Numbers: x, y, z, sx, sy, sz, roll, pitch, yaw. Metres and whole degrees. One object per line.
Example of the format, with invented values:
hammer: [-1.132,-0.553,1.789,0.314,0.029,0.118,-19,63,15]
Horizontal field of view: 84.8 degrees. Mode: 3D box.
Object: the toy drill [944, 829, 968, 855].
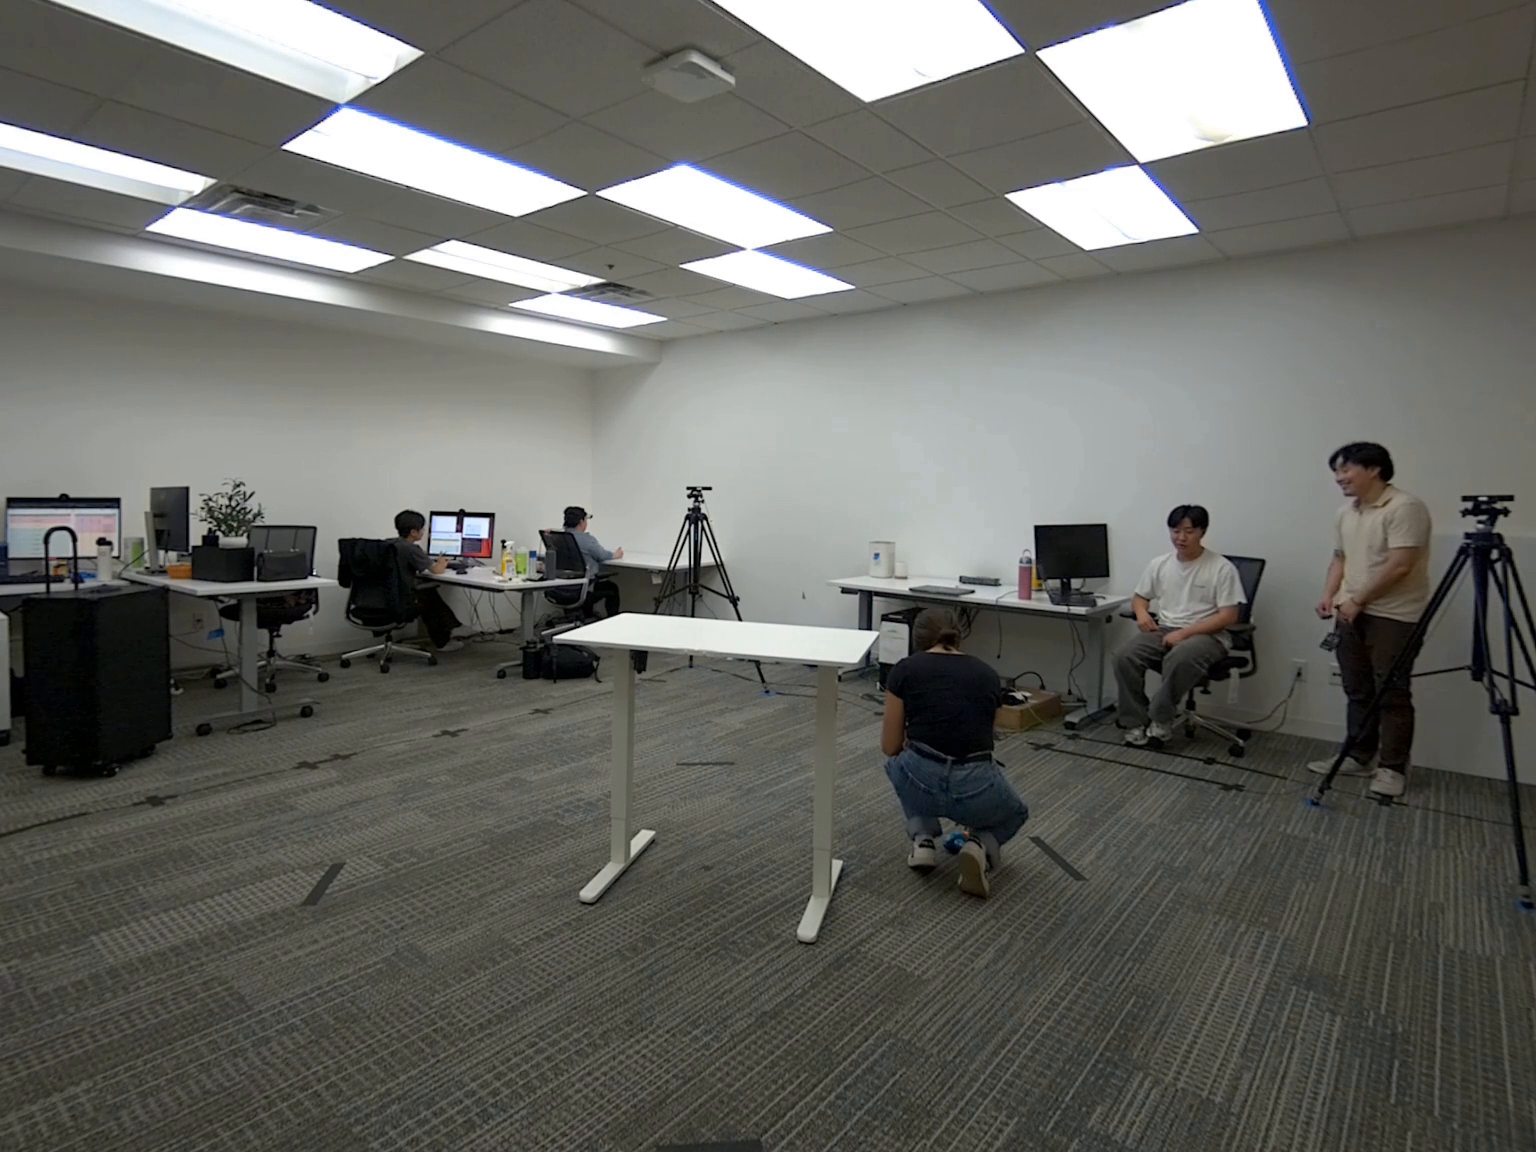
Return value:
toy drill: [0.763,1.031,3.299,0.165,0.061,0.151,-6,9,-40]
